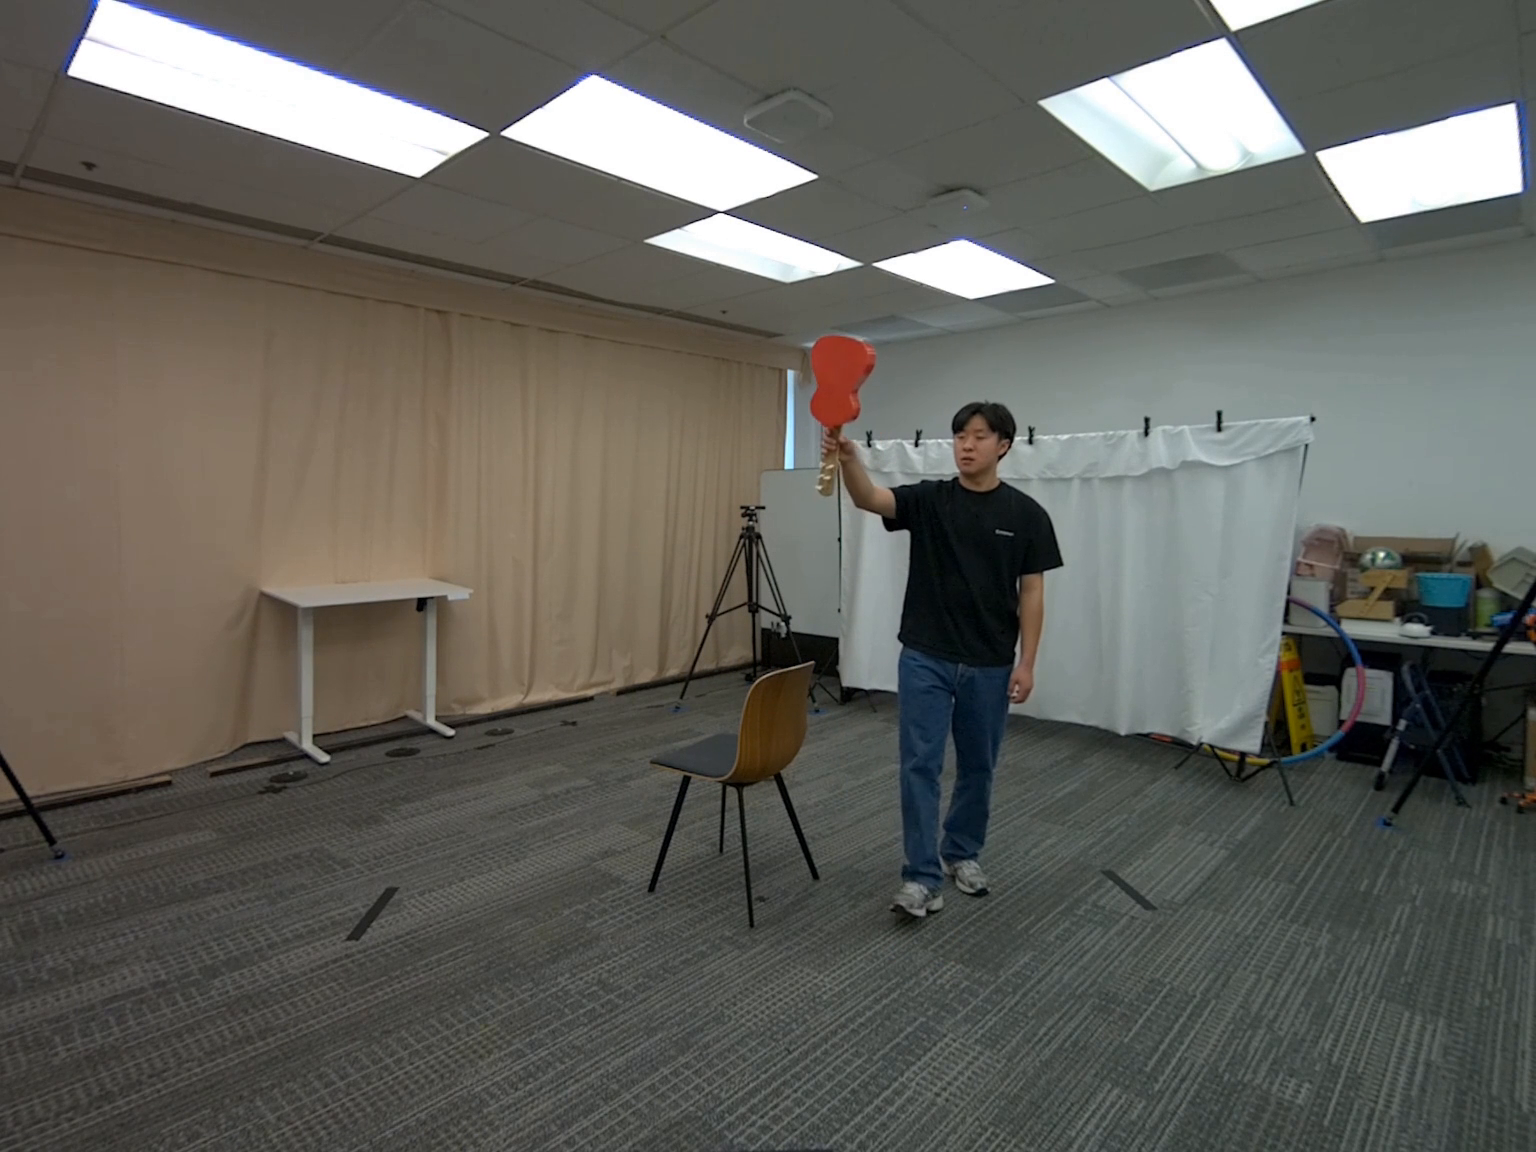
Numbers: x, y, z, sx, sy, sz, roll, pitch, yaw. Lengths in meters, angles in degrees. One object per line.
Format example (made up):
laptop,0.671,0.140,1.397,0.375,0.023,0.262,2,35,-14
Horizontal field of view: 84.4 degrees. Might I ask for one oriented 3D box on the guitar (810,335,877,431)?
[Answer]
guitar,0.234,-0.478,2.598,0.199,0.494,0.069,8,13,33
